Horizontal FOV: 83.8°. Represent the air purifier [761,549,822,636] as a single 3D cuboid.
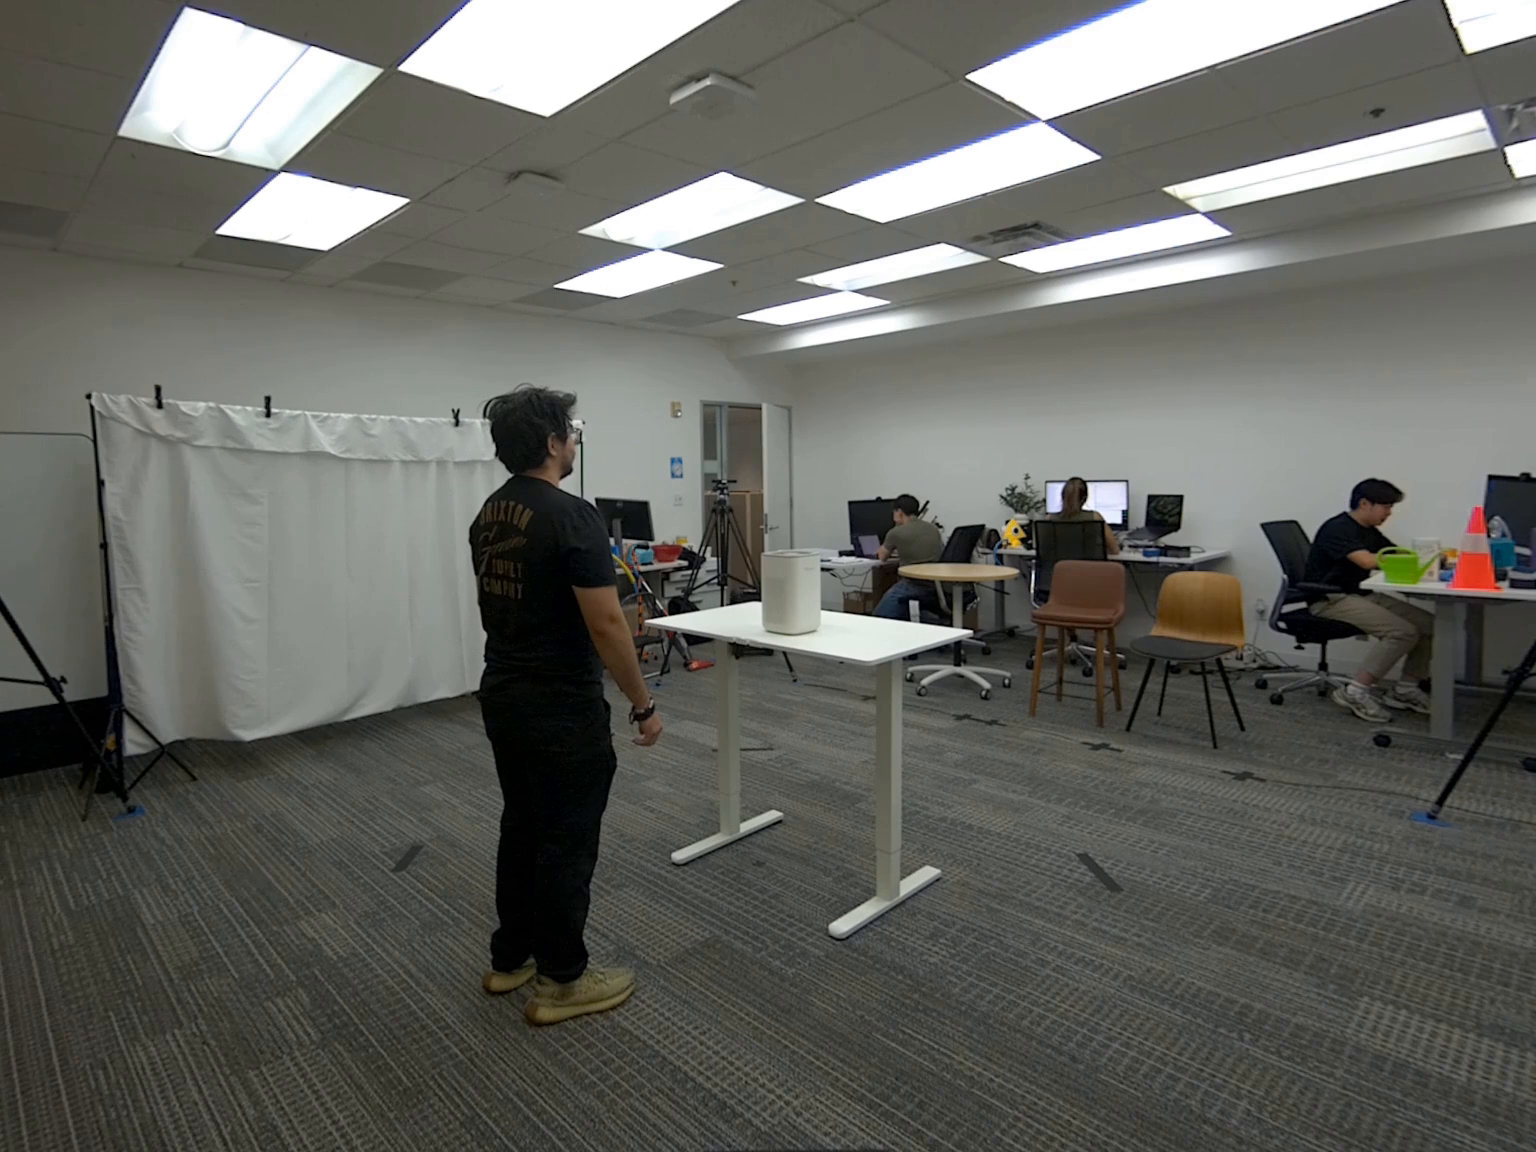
[{"bbox_3d":[0.083,0.055,2.891,0.177,0.264,0.166,5,6,43],"label":"air purifier"}]
